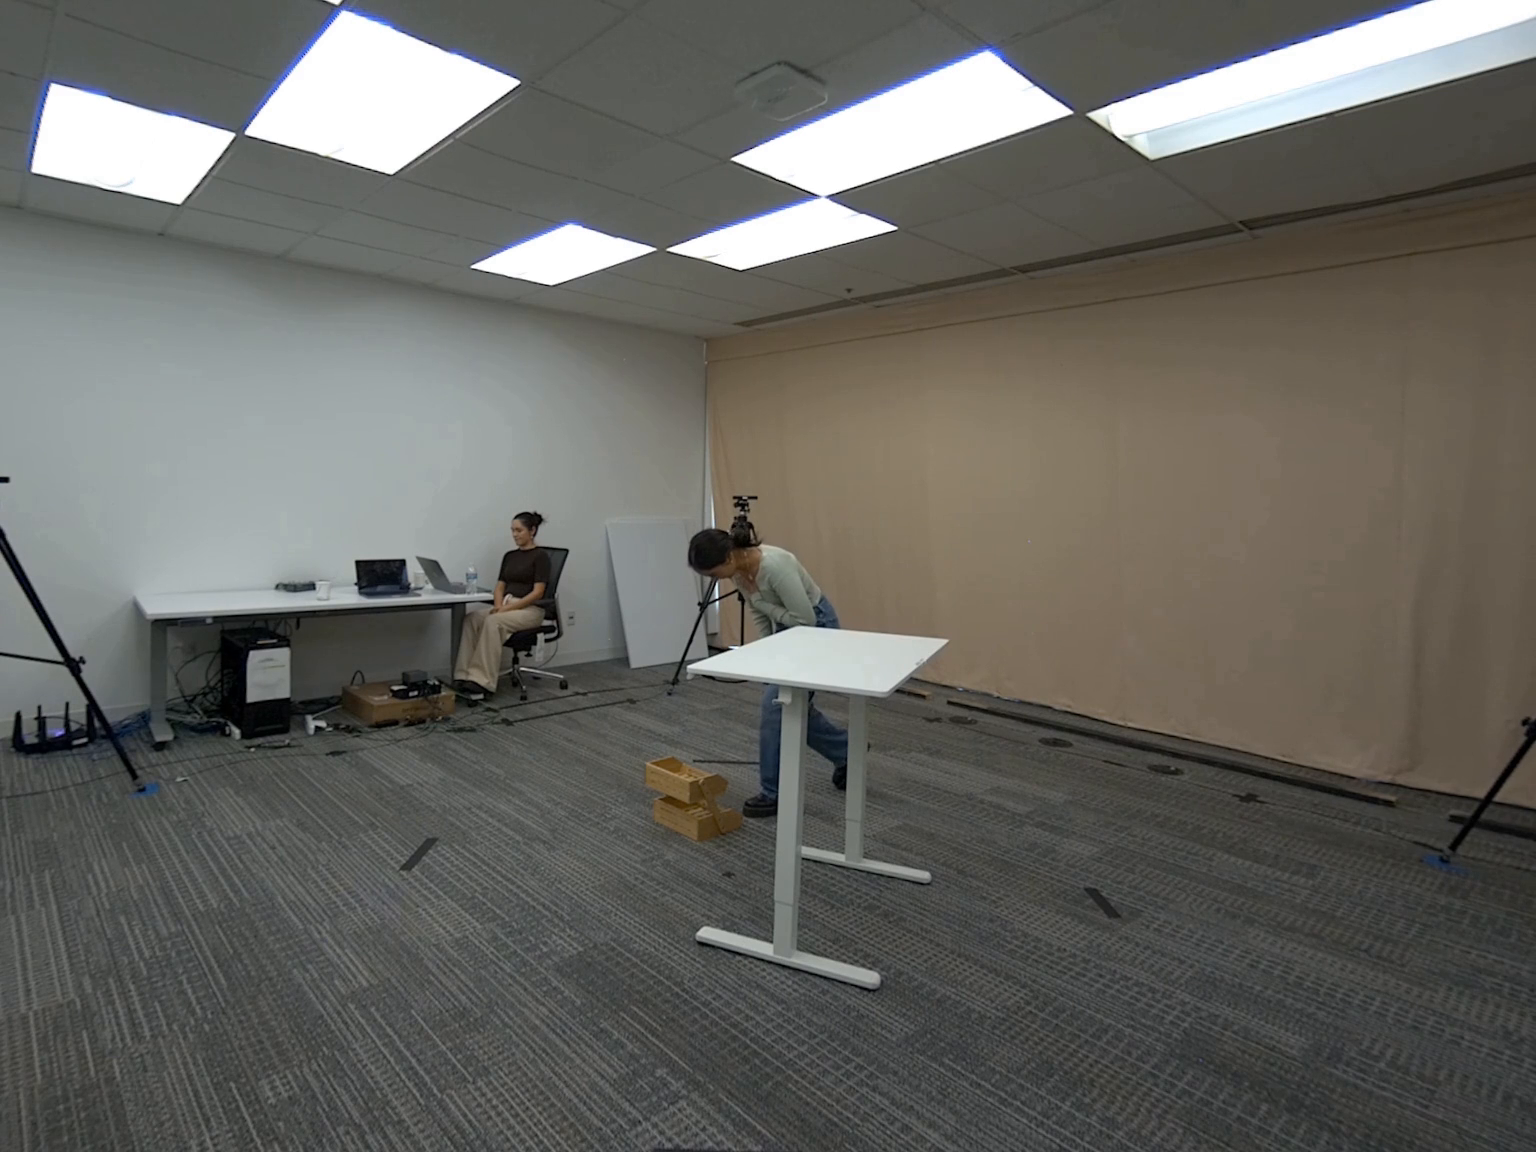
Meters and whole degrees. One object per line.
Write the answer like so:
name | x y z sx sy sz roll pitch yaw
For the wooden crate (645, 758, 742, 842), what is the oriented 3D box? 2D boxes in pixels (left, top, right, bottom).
wooden crate | -0.323 0.923 3.565 0.295 0.272 0.333 -3 7 -44
